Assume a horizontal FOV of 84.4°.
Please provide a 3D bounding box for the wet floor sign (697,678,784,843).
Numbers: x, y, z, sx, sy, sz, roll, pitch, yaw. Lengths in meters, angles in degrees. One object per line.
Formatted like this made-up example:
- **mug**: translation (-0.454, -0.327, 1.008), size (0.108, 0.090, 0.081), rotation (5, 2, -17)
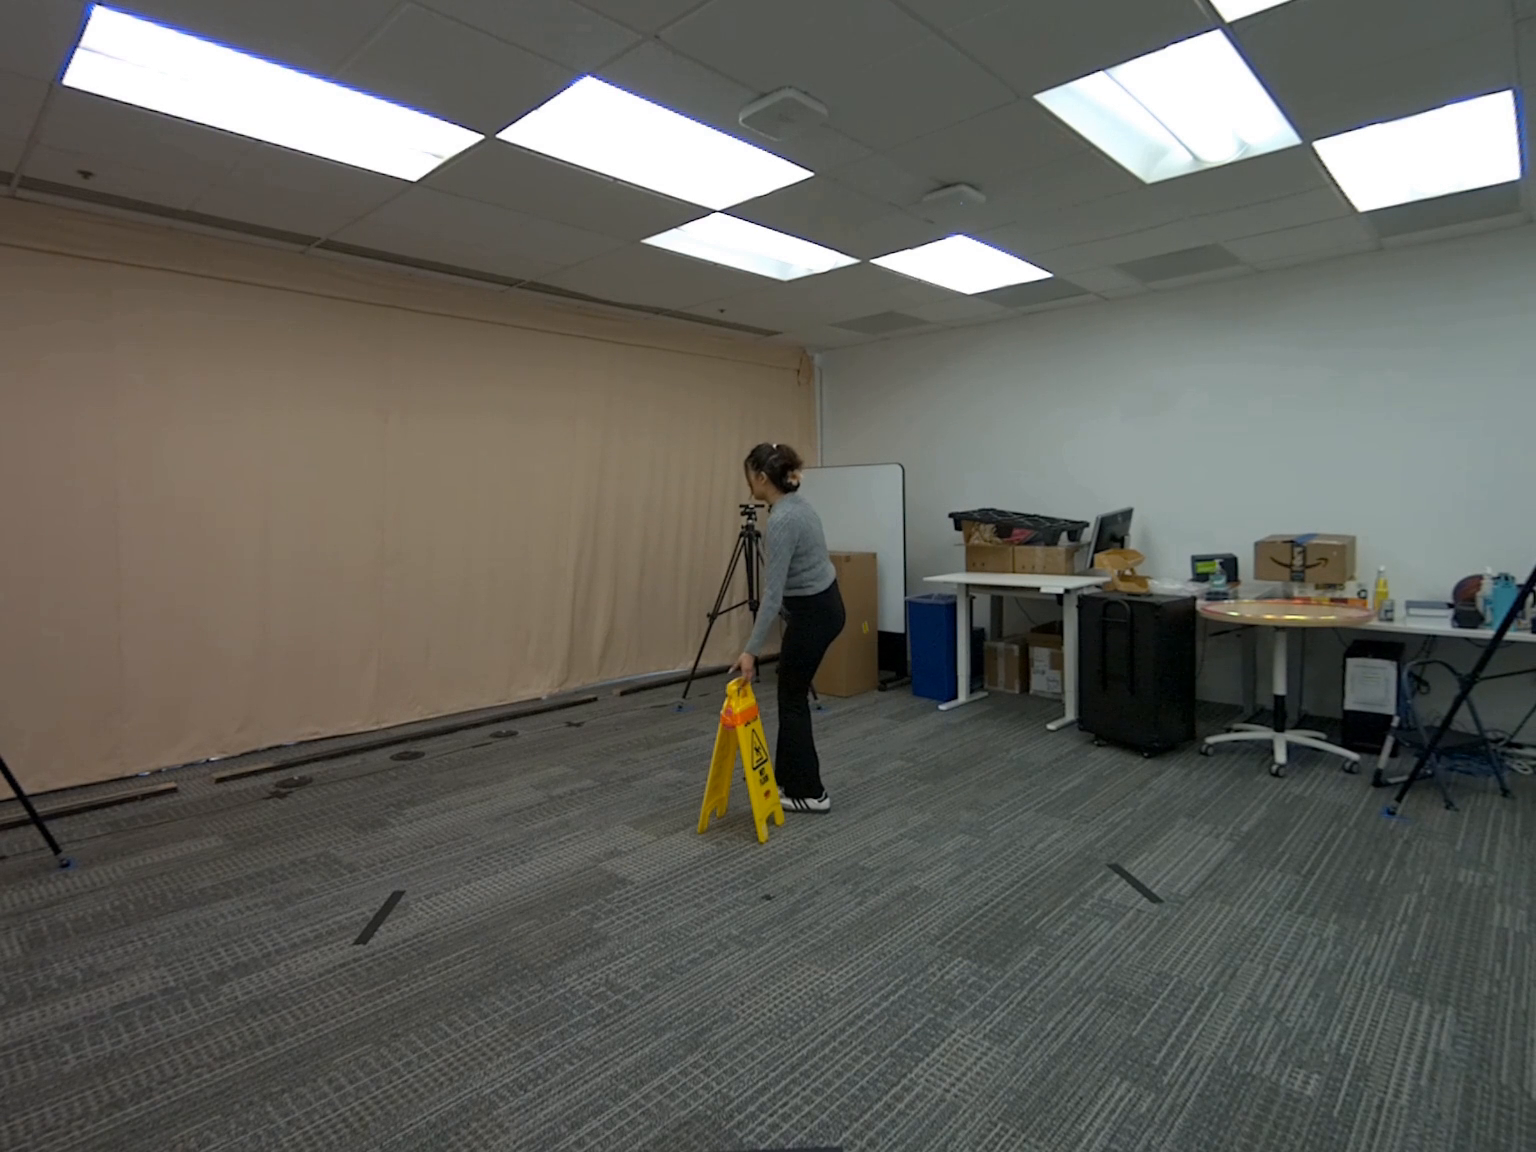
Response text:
- **wet floor sign**: translation (-0.123, 0.763, 3.626), size (0.296, 0.645, 0.276), rotation (-1, 2, 22)
